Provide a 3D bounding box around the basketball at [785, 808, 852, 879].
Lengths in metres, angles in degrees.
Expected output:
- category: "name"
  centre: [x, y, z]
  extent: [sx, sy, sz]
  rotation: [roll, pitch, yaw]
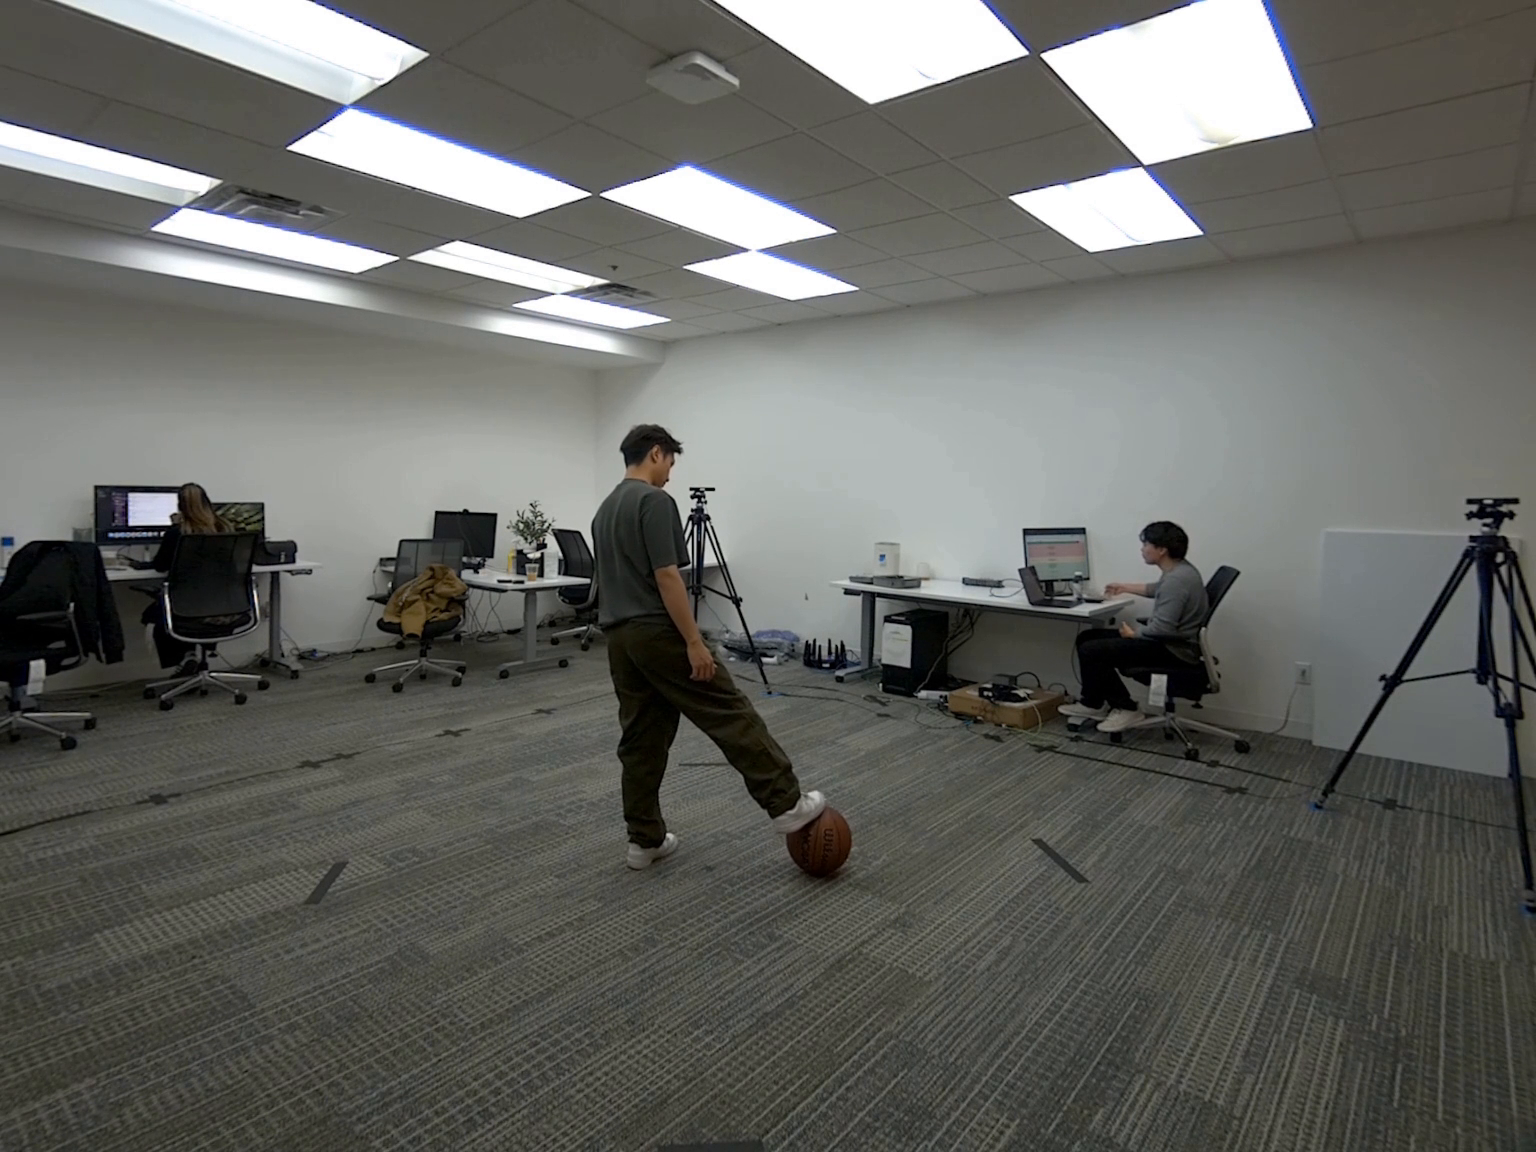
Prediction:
- category: "basketball"
  centre: [0.183, 0.959, 3.108]
  extent: [0.235, 0.235, 0.237]
  rotation: [1, 4, -2]
